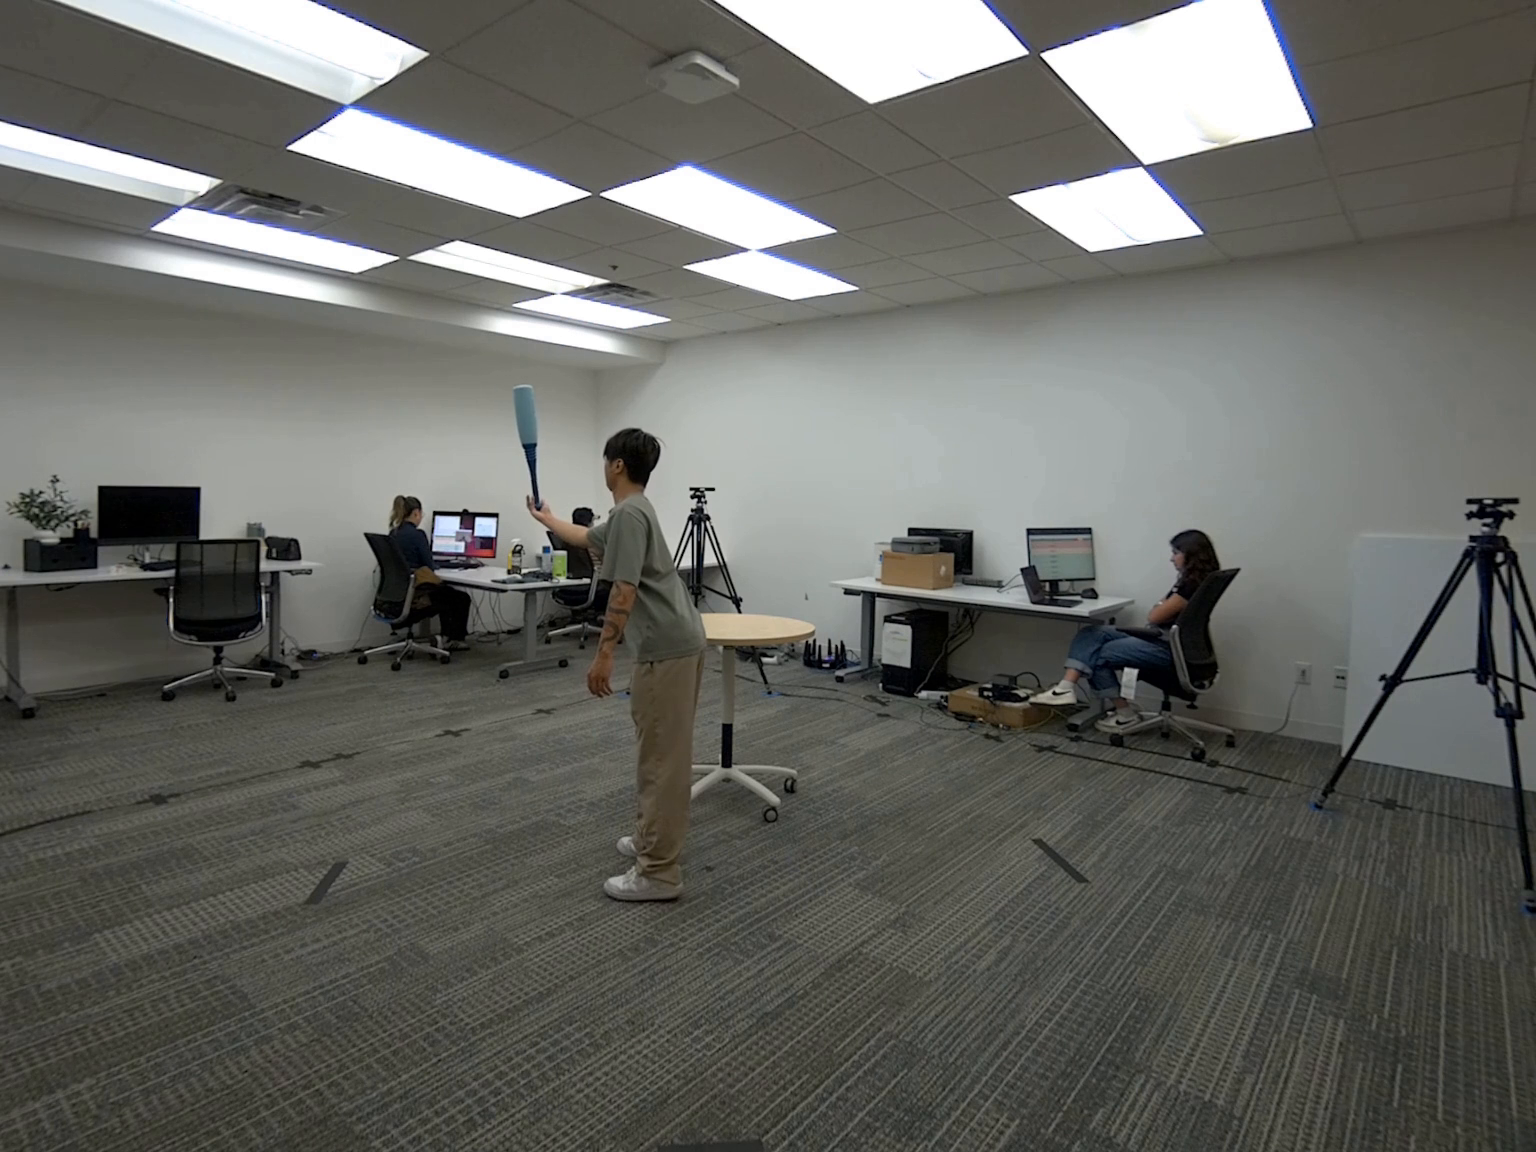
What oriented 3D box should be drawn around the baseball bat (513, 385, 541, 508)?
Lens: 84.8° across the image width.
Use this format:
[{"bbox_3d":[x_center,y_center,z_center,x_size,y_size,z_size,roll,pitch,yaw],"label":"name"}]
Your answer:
[{"bbox_3d":[-1.059,-0.566,3.712,0.089,0.539,0.090,-6,6,-1],"label":"baseball bat"}]
